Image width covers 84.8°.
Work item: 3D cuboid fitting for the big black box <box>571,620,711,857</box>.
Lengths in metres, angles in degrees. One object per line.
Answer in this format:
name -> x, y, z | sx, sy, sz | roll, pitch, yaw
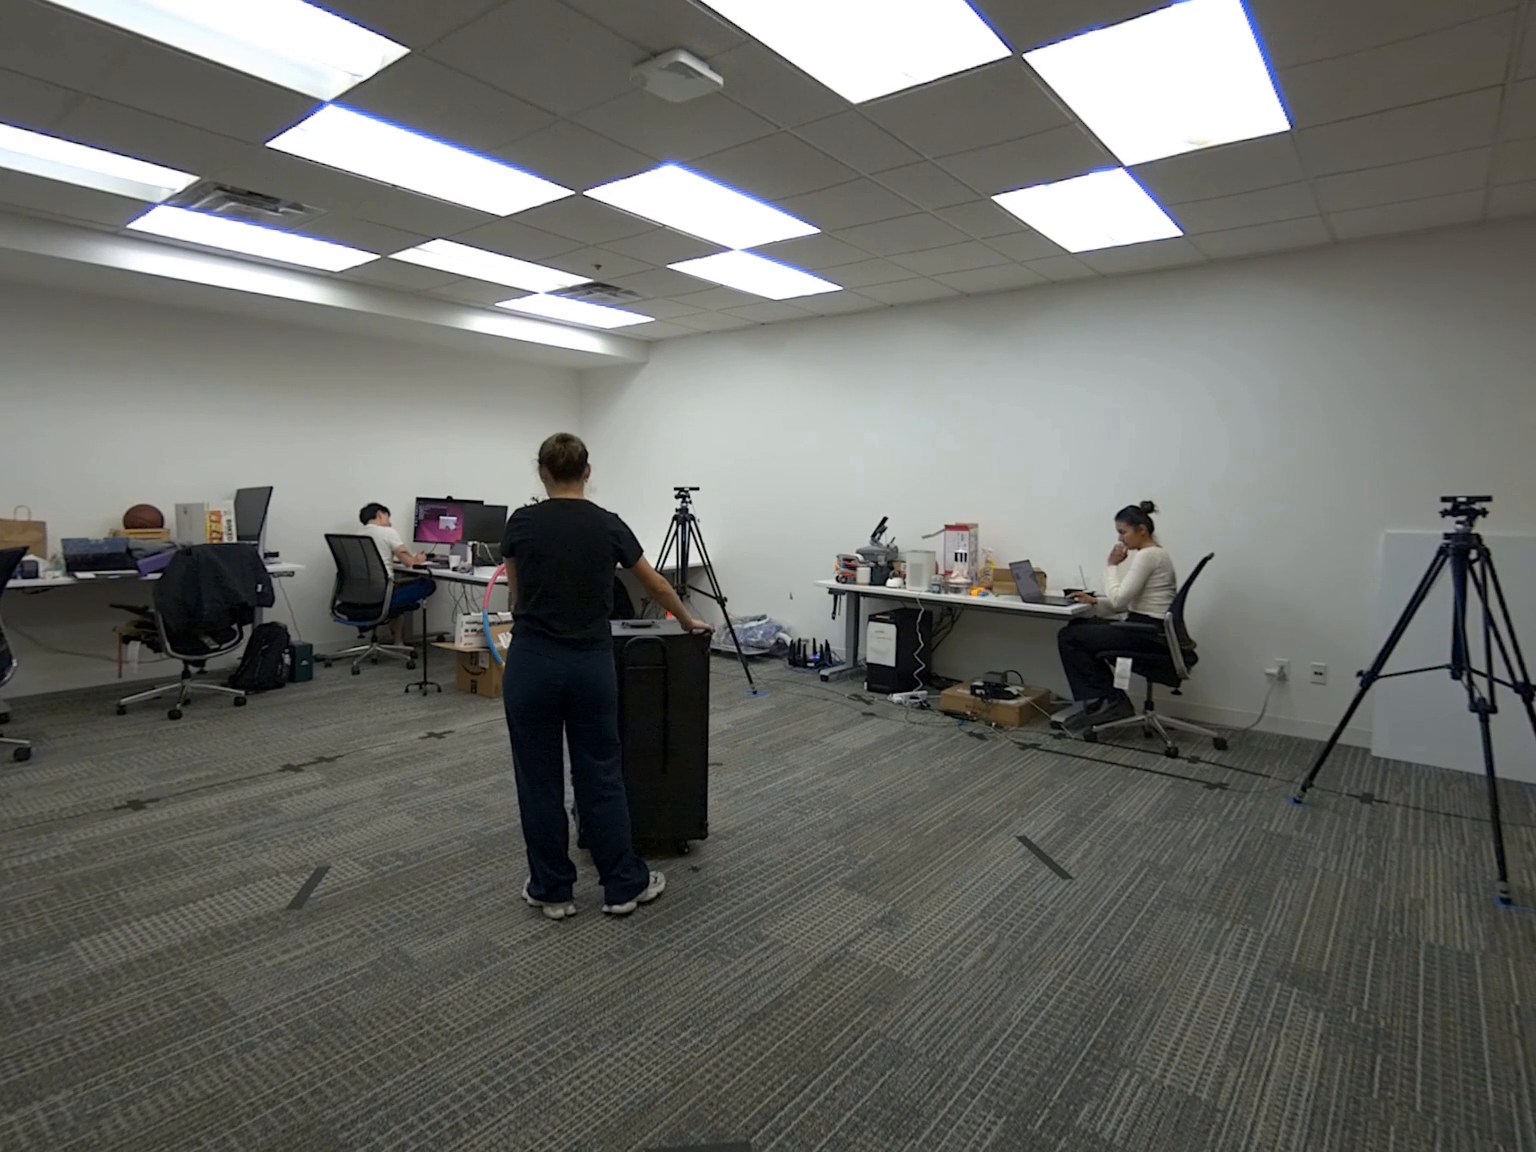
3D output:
big black box -> -0.474, 0.619, 3.302 | 0.514, 0.858, 0.403 | 0, 4, -13
